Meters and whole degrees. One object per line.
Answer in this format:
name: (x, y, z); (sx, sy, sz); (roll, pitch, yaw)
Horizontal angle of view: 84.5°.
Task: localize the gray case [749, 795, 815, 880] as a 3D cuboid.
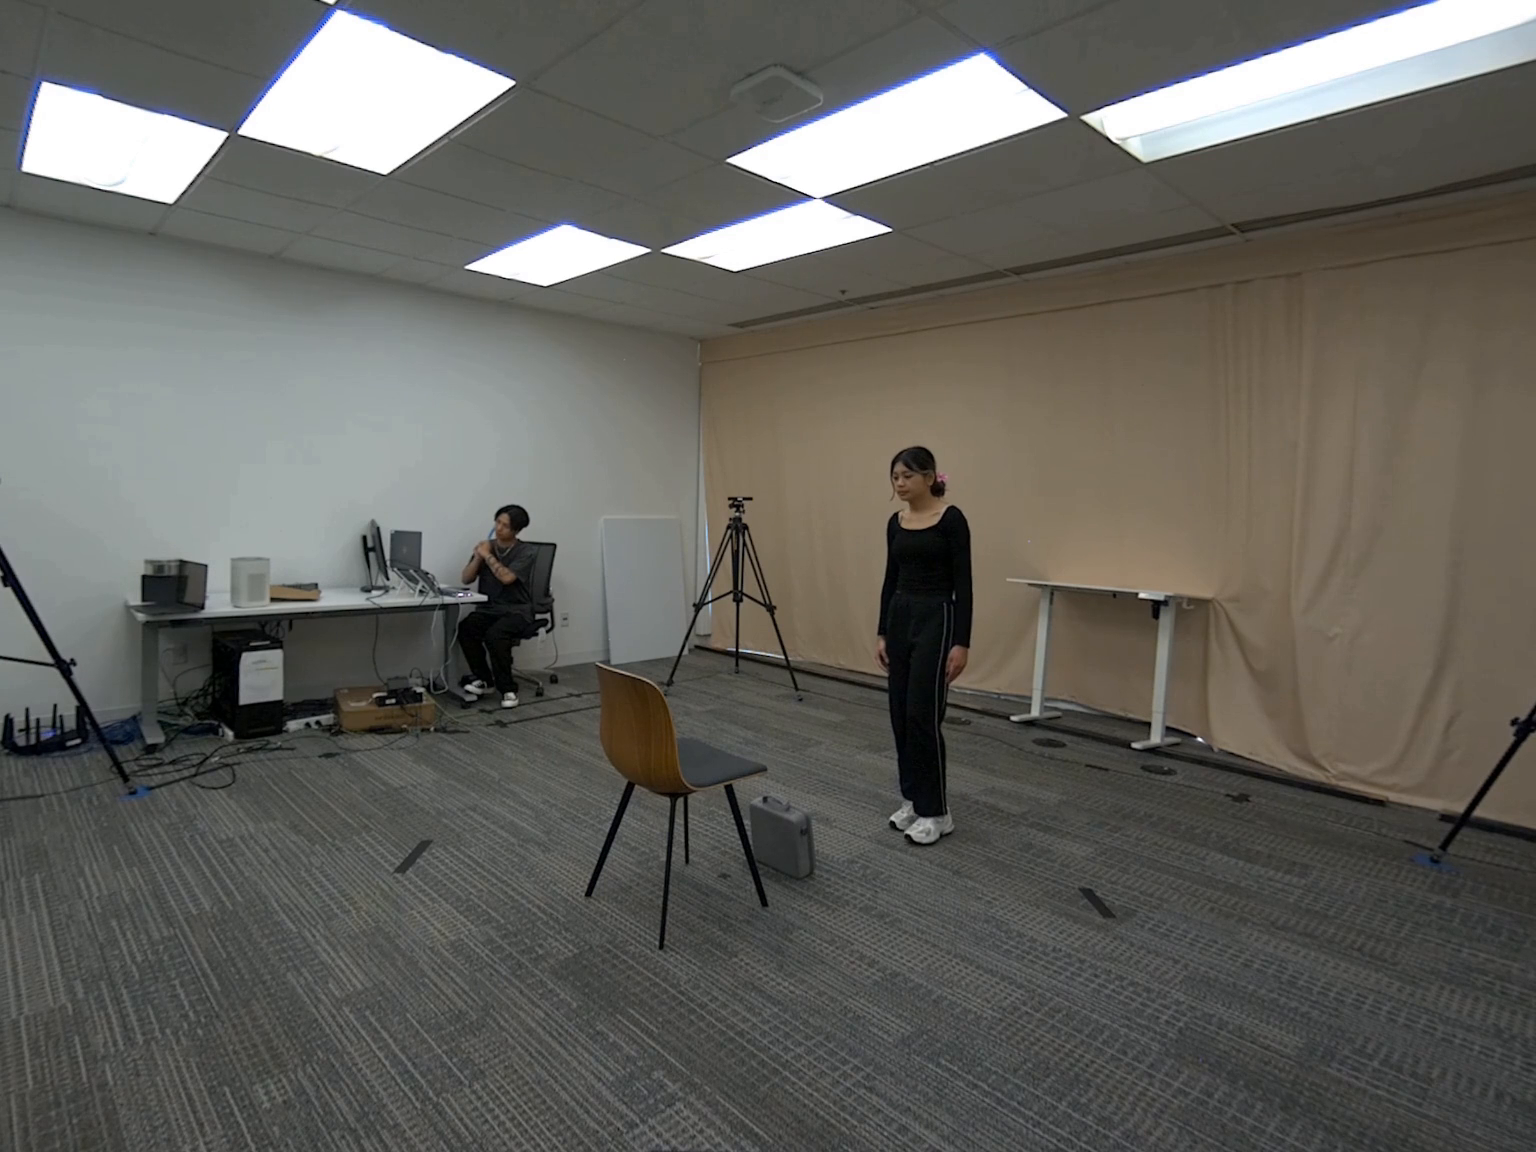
gray case: (0.043, 0.975, 3.167); (0.102, 0.258, 0.263); (-14, 13, -42)
